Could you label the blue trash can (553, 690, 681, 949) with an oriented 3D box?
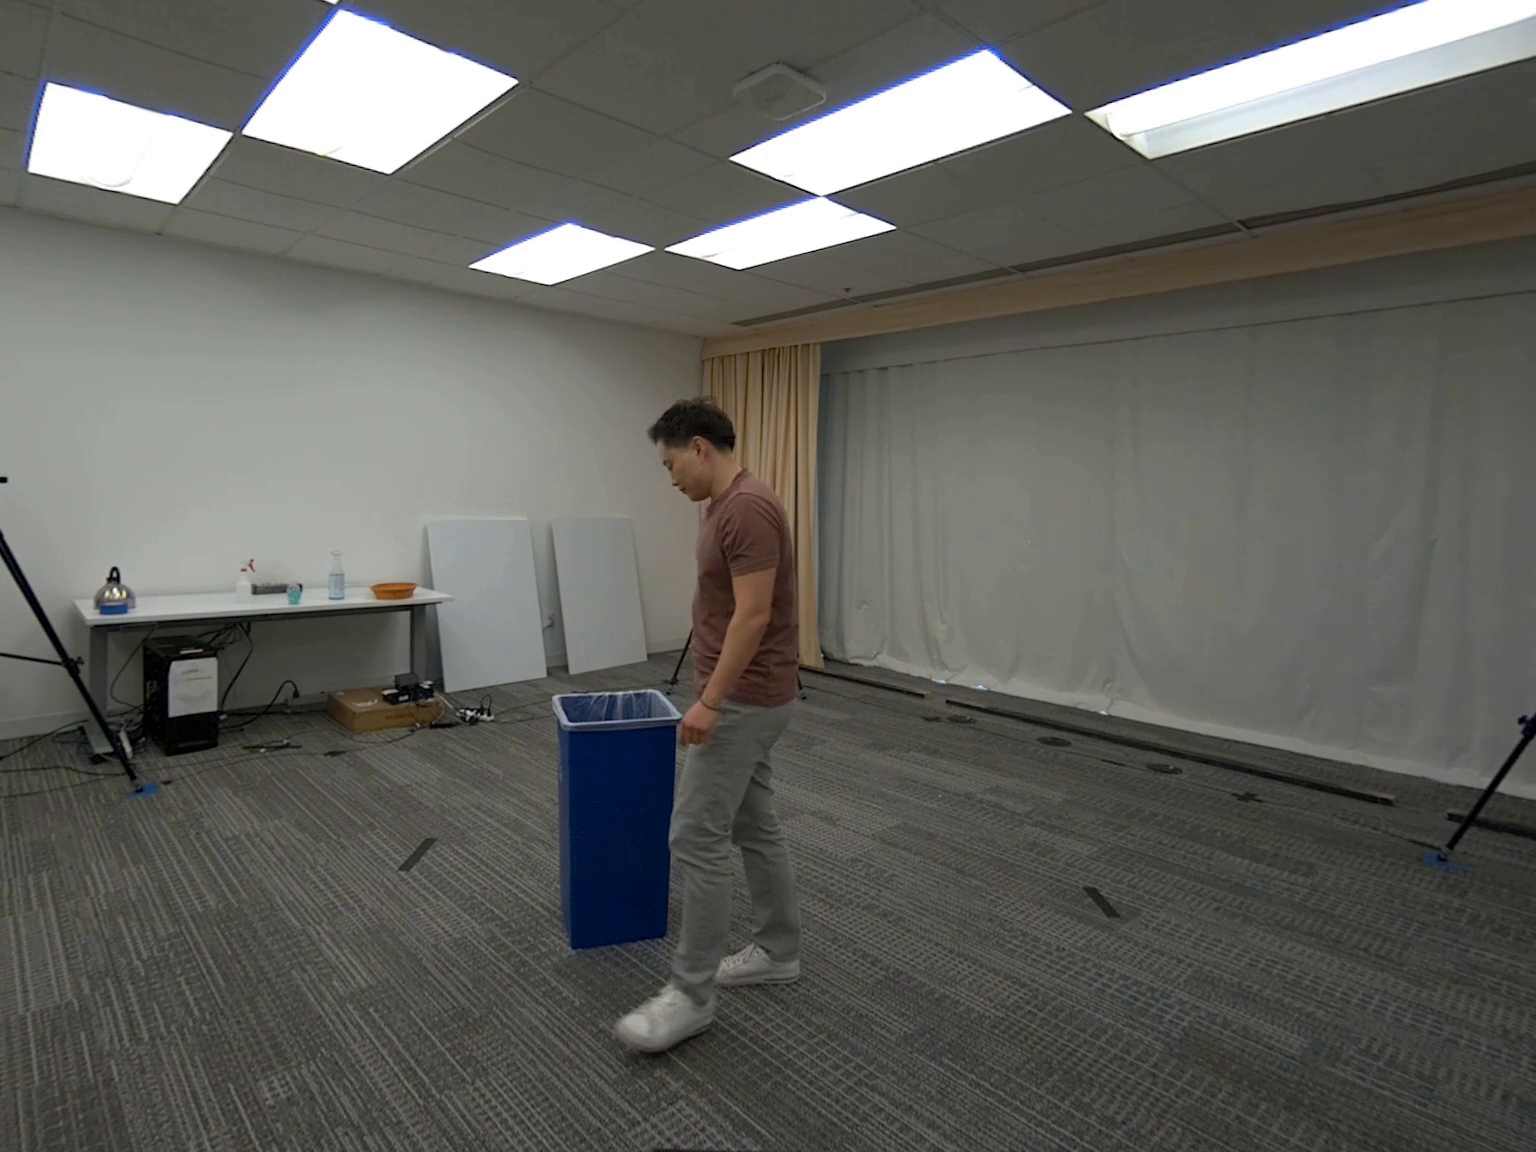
[{"bbox_3d":[-0.503,0.772,2.724,0.372,0.712,0.380,0,4,-20],"label":"blue trash can"}]
